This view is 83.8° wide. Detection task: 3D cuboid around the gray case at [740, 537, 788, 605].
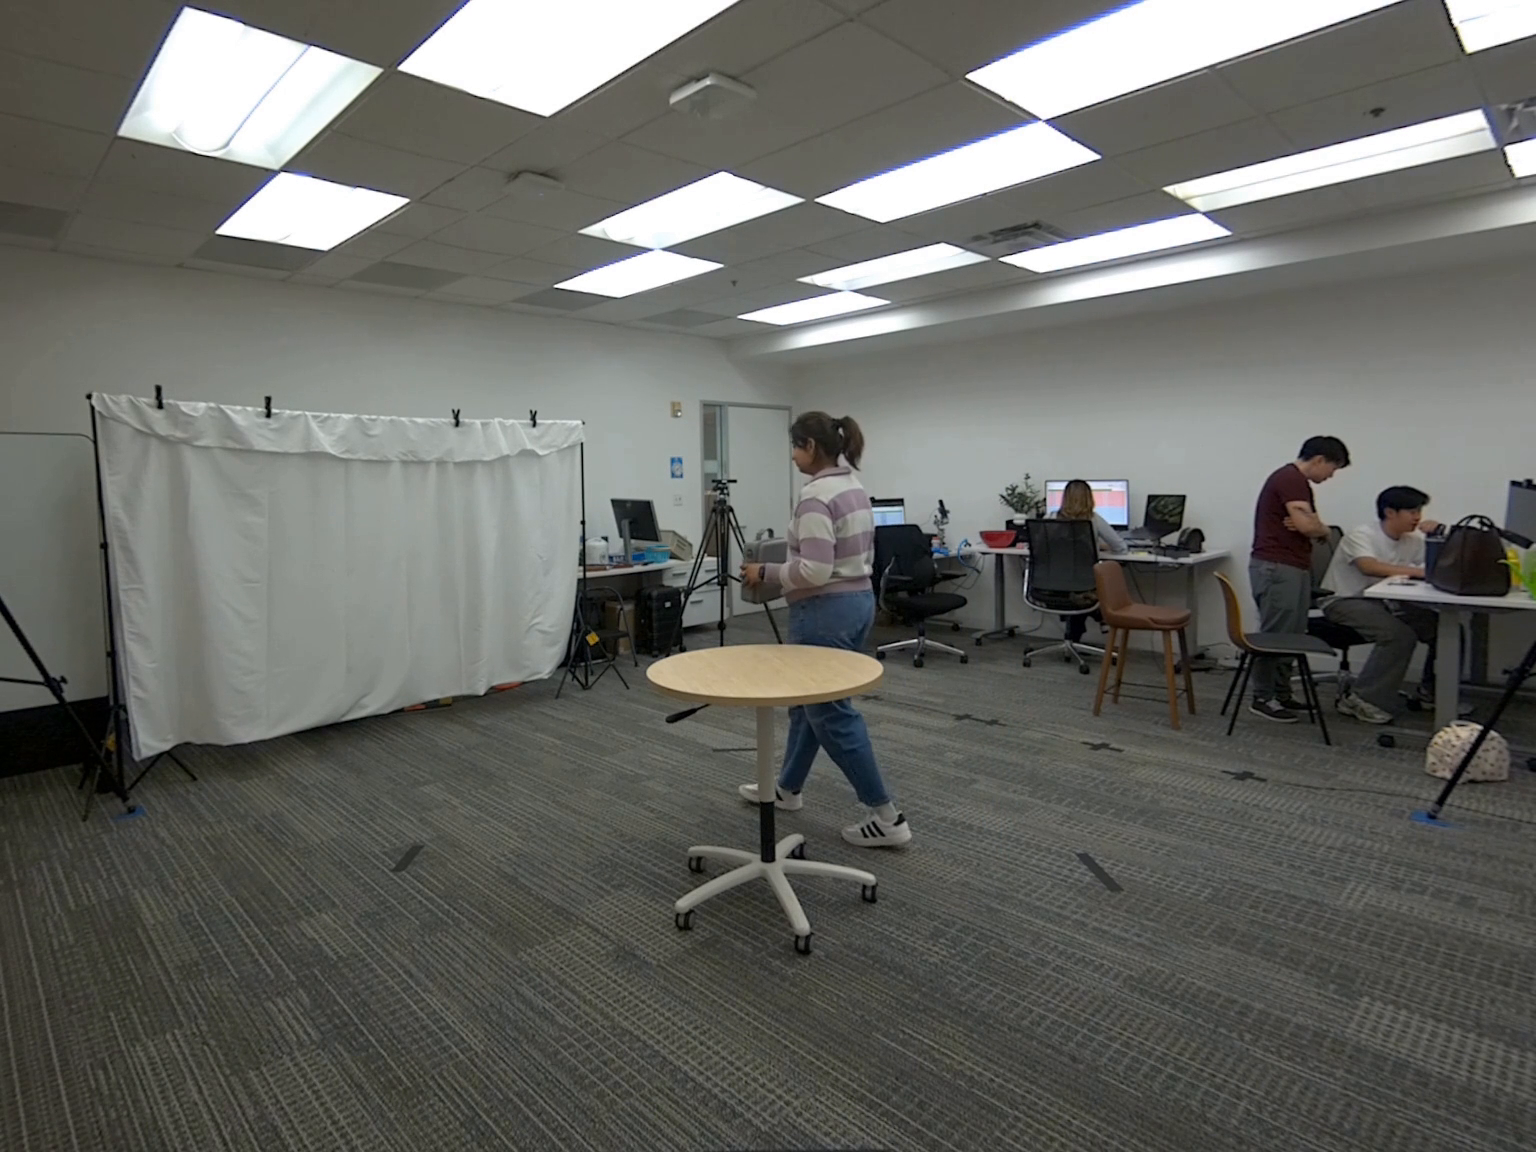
[{"bbox_3d":[0.003,-0.034,3.489,0.107,0.259,0.251,2,6,33],"label":"gray case"}]
